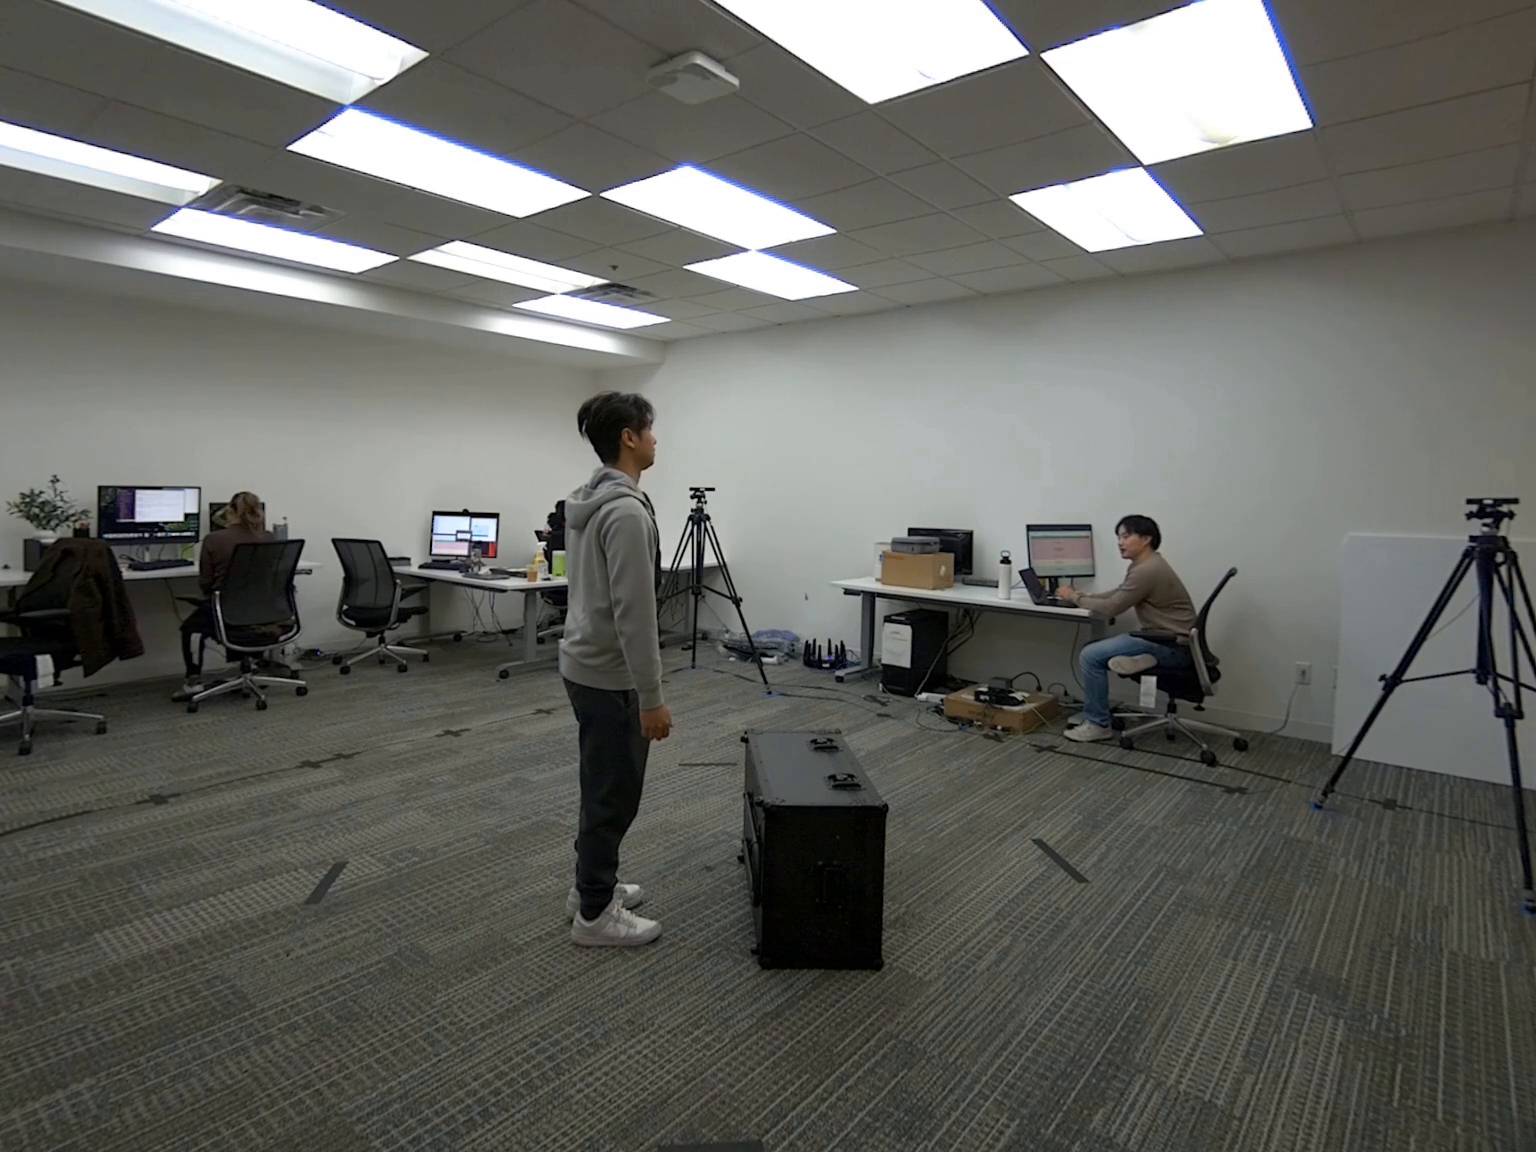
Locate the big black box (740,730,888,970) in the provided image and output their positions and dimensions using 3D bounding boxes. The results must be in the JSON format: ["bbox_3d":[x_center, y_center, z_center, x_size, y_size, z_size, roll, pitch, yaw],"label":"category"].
[{"bbox_3d":[0.102,0.853,2.872,0.395,0.519,0.867,1,5,-4],"label":"big black box"}]
